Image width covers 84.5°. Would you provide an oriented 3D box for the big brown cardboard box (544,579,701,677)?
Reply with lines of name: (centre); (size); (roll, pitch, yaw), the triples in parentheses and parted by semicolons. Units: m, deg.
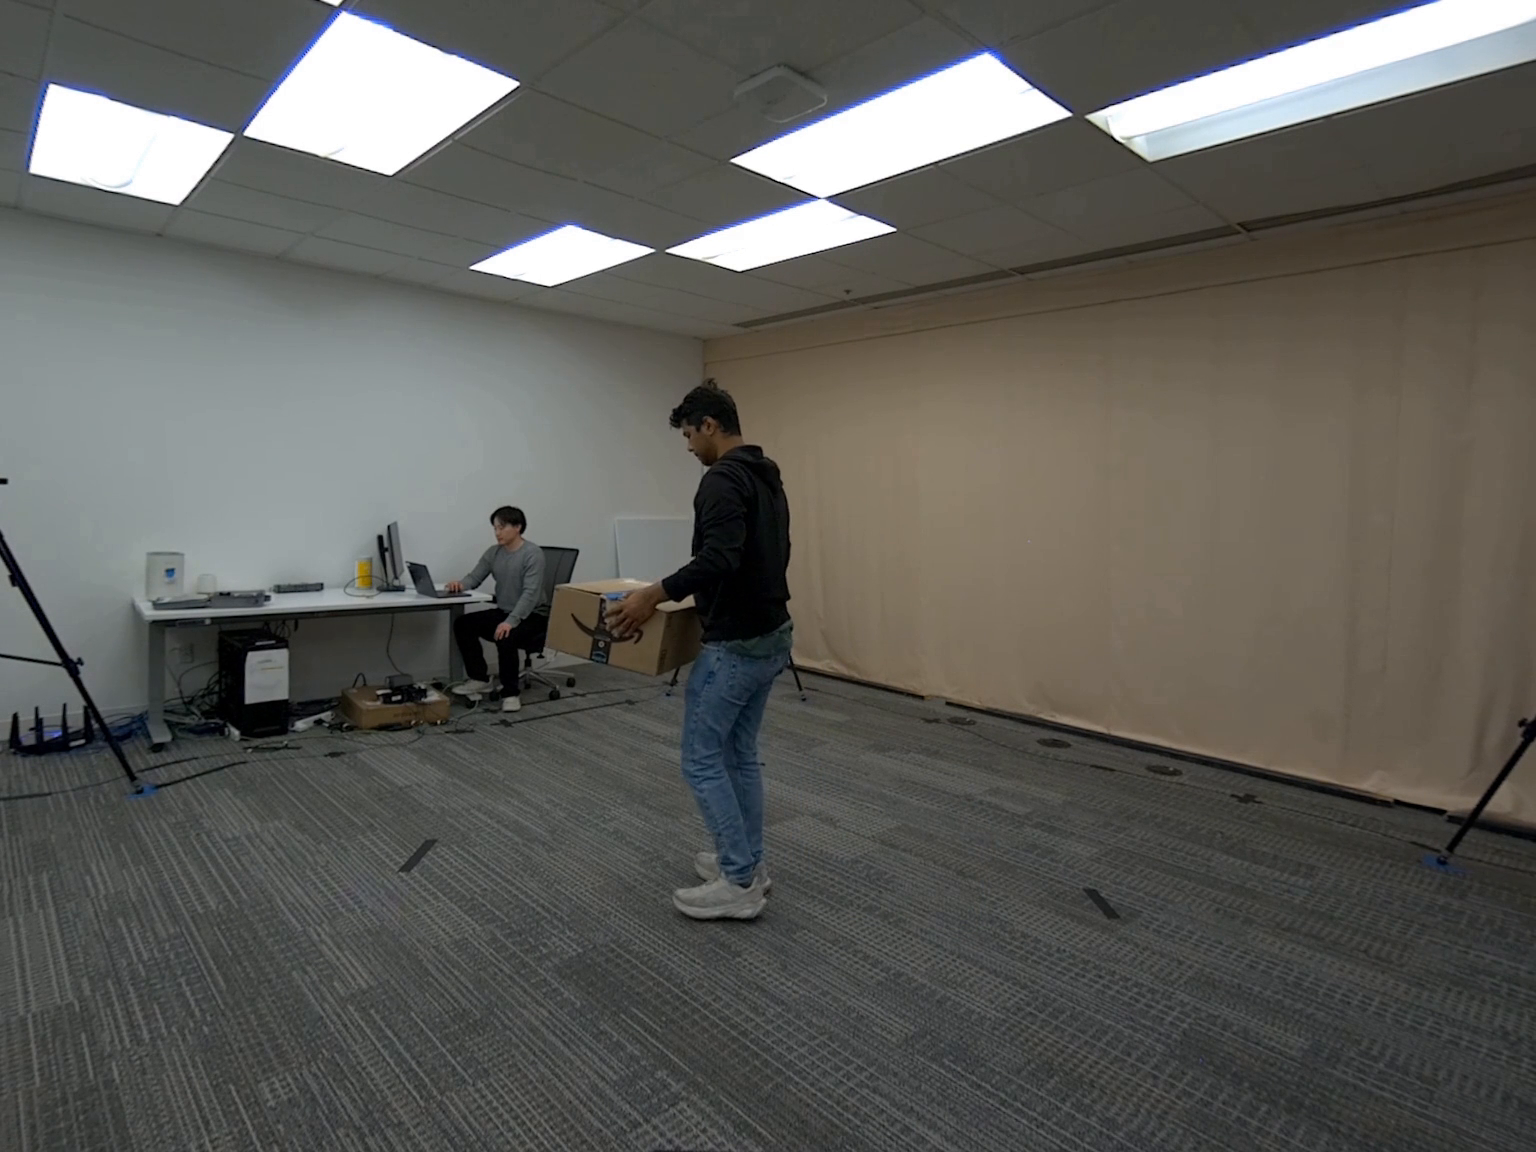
big brown cardboard box: (-0.458, 0.160, 3.016); (0.424, 0.232, 0.582); (10, 6, 16)
